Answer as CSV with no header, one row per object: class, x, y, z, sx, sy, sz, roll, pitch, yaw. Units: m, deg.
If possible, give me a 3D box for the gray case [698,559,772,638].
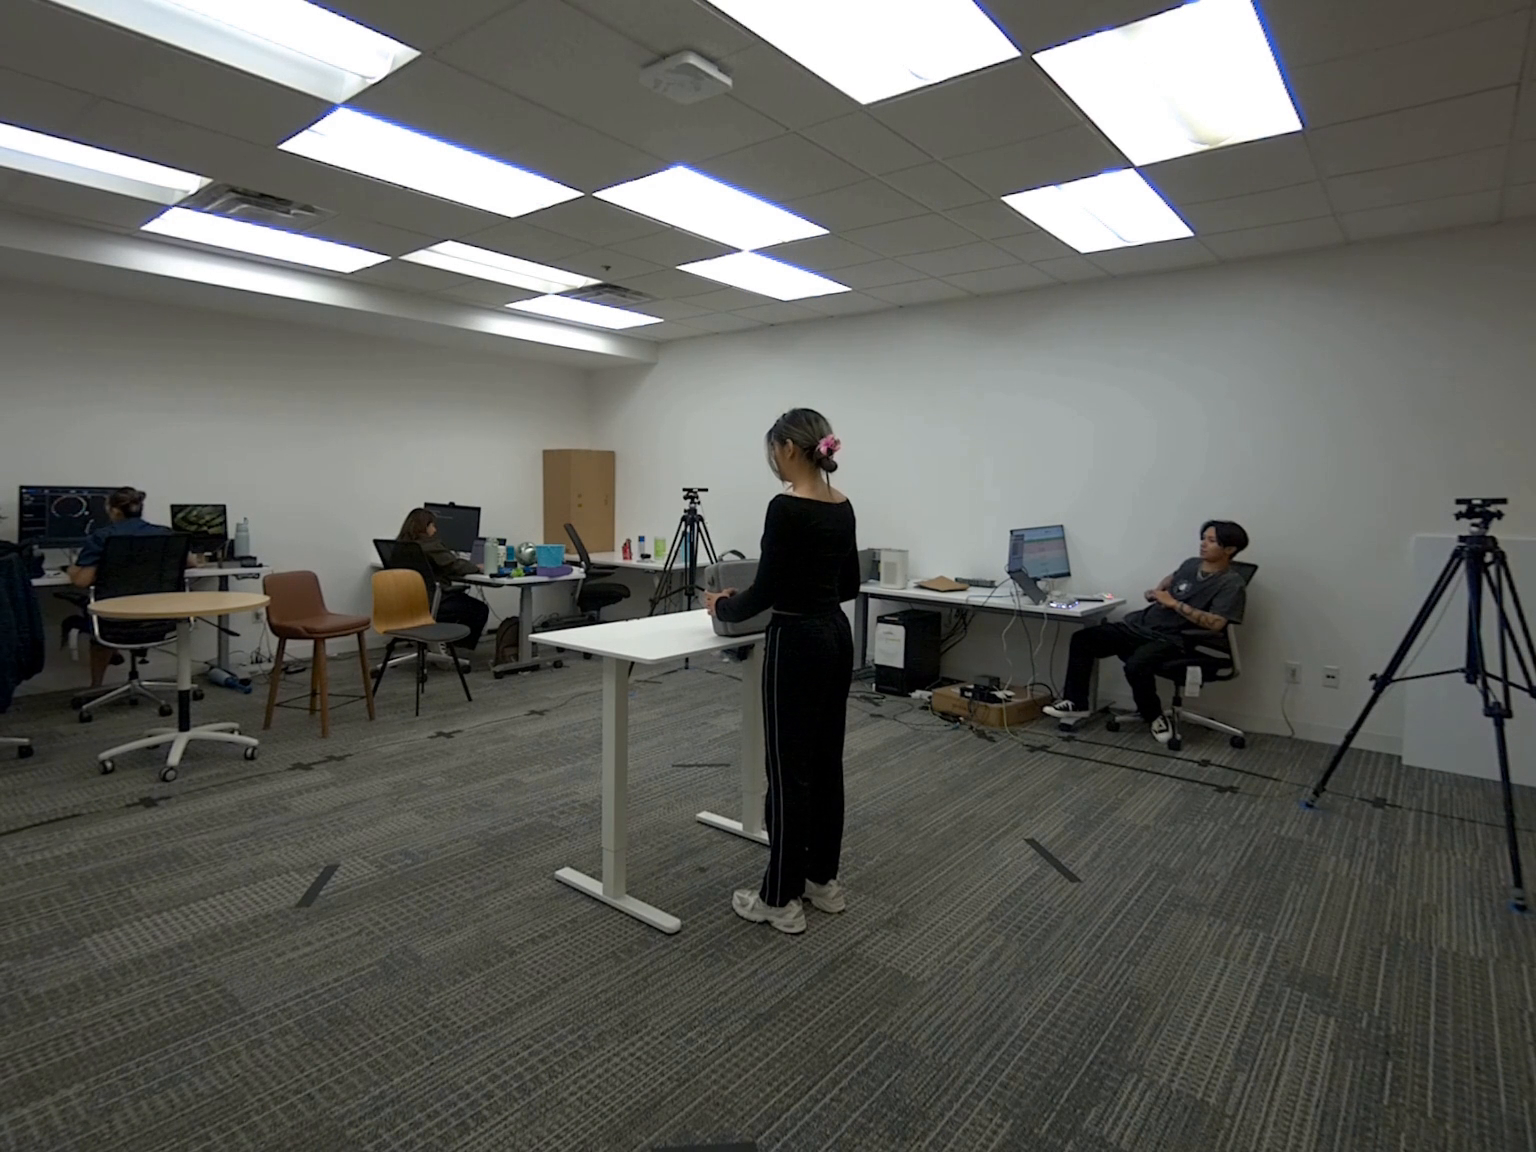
gray case,-0.097,0.066,2.991,0.249,0.262,0.107,-3,-7,-42
